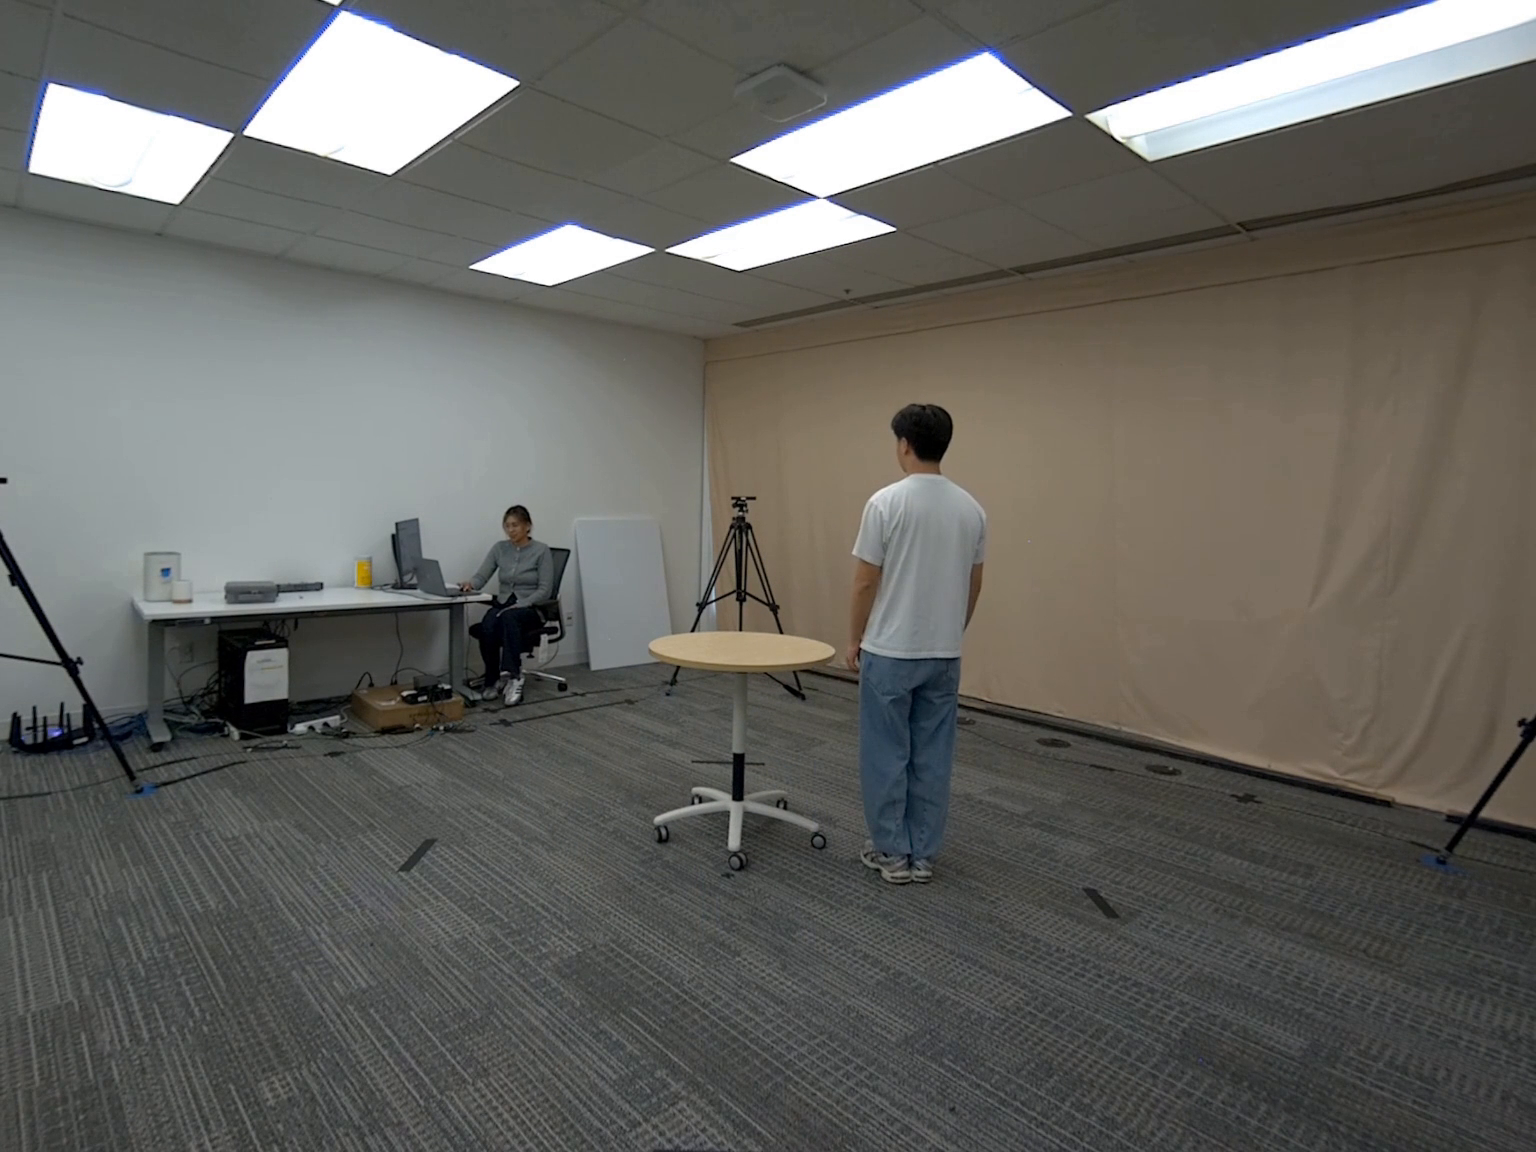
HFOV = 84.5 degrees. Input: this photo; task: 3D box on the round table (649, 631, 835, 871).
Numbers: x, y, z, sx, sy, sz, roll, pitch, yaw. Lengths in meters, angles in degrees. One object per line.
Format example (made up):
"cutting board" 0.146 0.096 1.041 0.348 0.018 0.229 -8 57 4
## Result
"round table" -0.129 0.681 3.473 0.784 0.784 0.788 2 4 -1
